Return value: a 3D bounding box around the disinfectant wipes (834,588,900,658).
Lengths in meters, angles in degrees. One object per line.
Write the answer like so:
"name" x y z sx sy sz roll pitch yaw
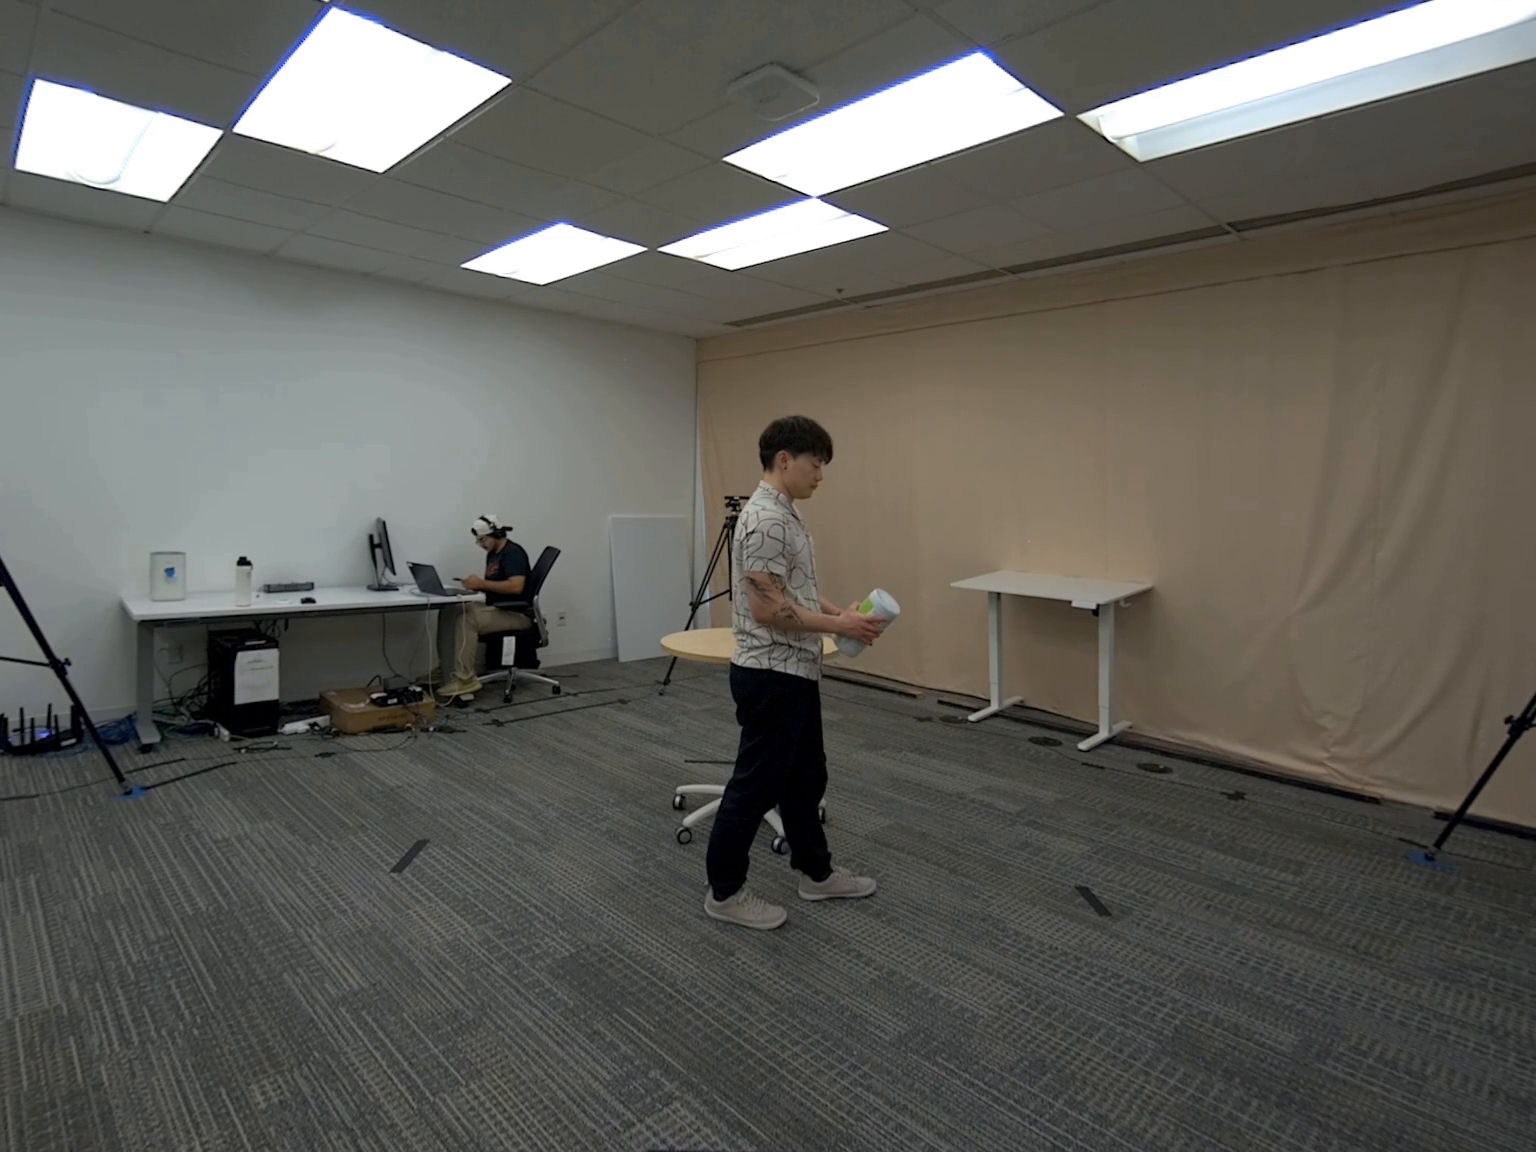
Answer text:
"disinfectant wipes" 0.308 0.150 2.657 0.116 0.217 0.120 35 22 -18
